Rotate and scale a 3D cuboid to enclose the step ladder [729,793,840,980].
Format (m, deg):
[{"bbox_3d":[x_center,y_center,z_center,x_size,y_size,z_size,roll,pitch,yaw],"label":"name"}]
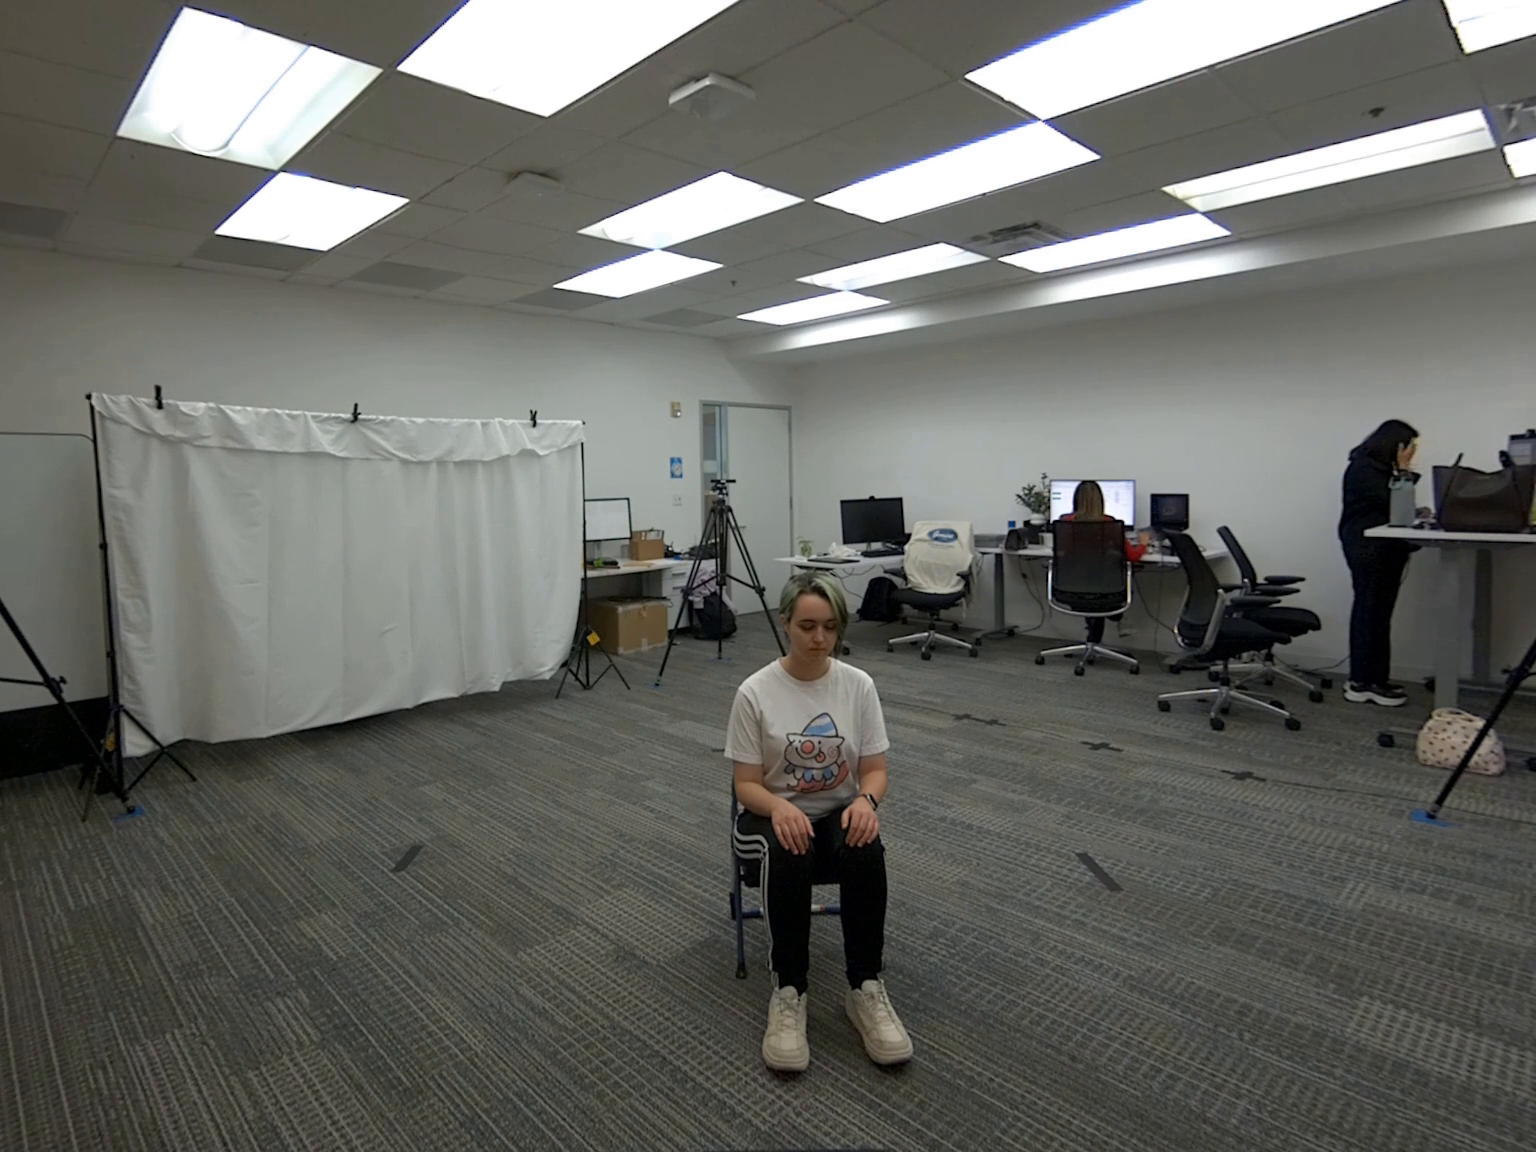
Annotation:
[{"bbox_3d":[0.107,0.812,2.567,0.429,0.603,0.352,-2,5,-5],"label":"step ladder"}]
